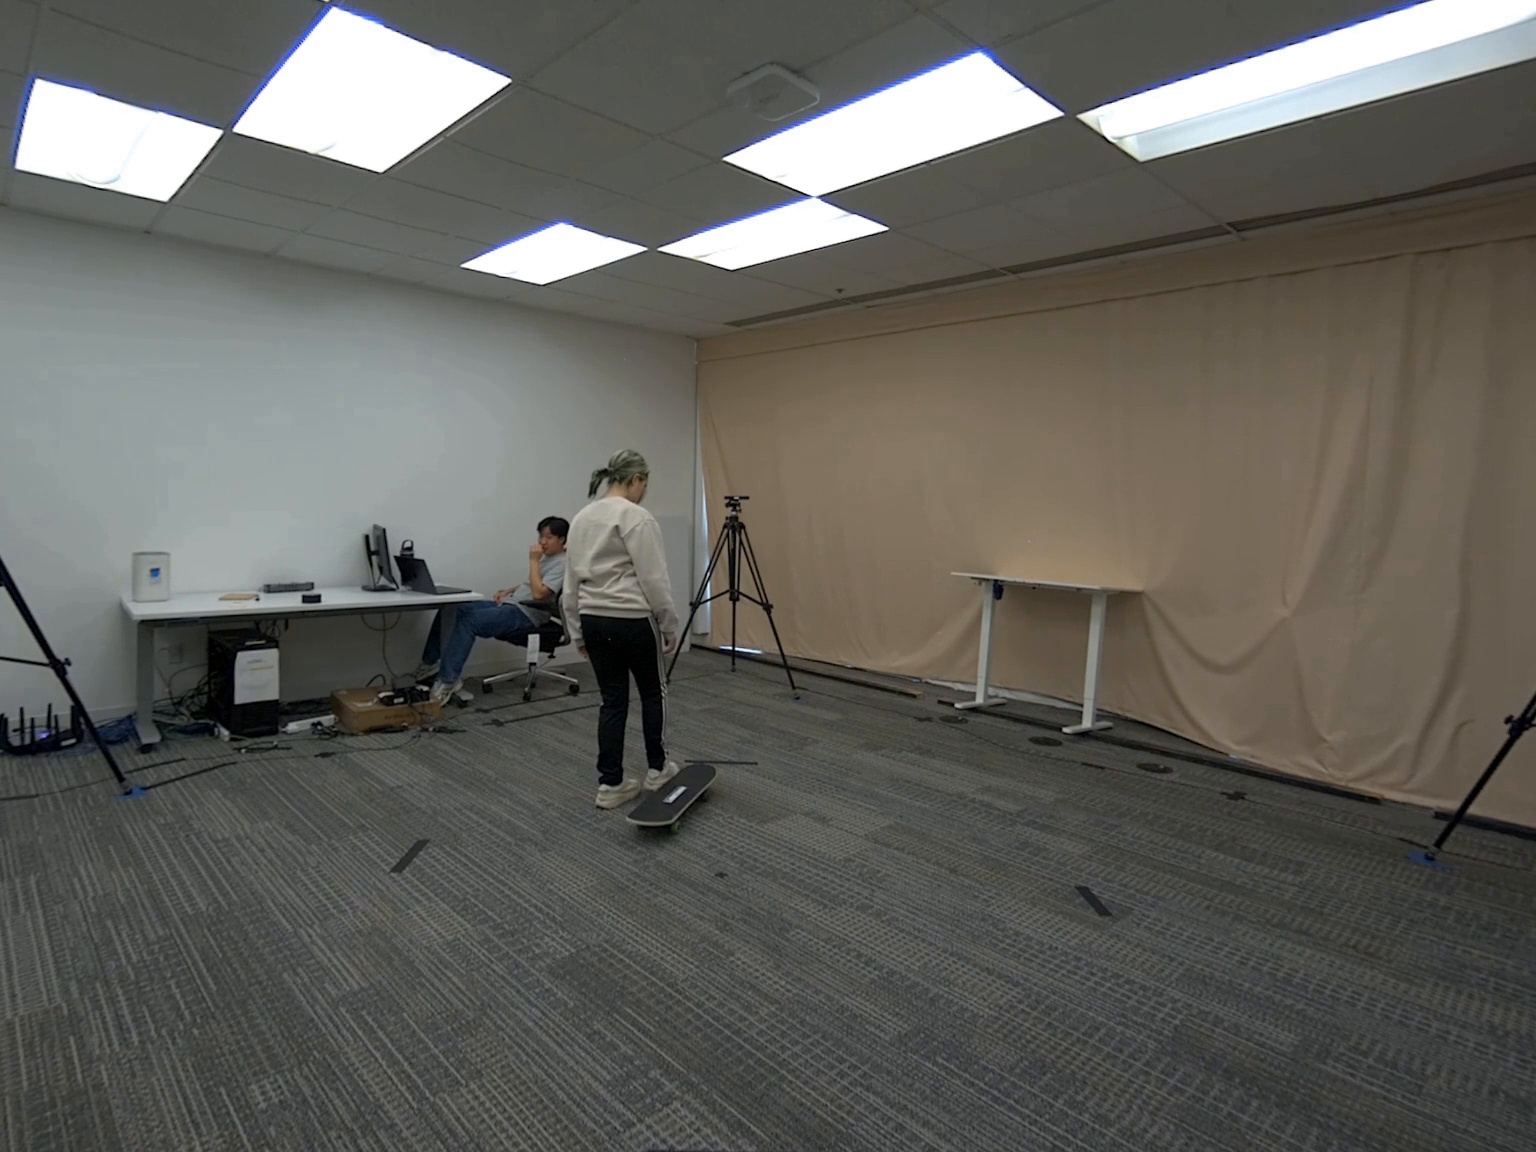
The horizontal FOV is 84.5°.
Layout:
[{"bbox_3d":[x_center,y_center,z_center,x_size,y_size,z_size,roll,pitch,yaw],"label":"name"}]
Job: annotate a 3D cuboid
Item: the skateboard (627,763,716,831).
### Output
[{"bbox_3d":[-0.416,0.985,3.681,0.196,0.110,0.778,1,5,14],"label":"skateboard"}]
